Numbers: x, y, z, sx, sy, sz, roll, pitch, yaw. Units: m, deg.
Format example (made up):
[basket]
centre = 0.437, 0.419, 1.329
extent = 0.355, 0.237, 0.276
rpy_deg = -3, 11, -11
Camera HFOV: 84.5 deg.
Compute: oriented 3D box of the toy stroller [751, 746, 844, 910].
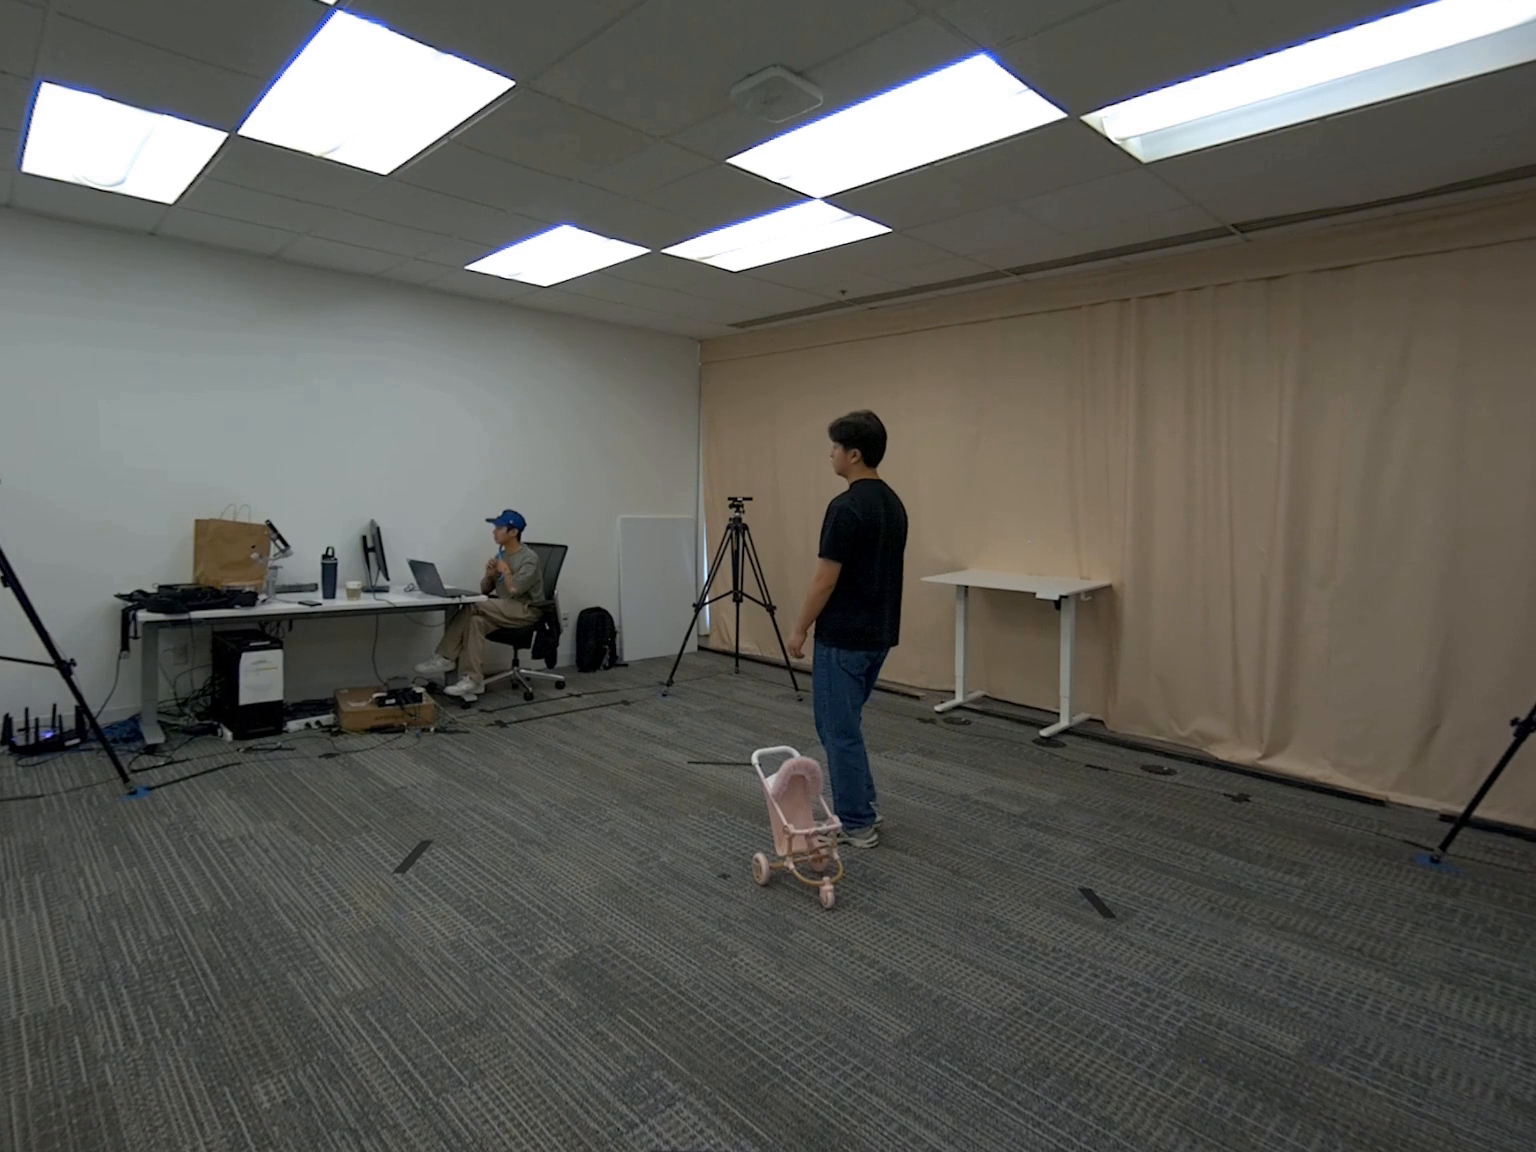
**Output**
[toy stroller]
centre = 0.109, 0.891, 3.032
extent = 0.276, 0.539, 0.344
rpy_deg = 0, -11, -25
